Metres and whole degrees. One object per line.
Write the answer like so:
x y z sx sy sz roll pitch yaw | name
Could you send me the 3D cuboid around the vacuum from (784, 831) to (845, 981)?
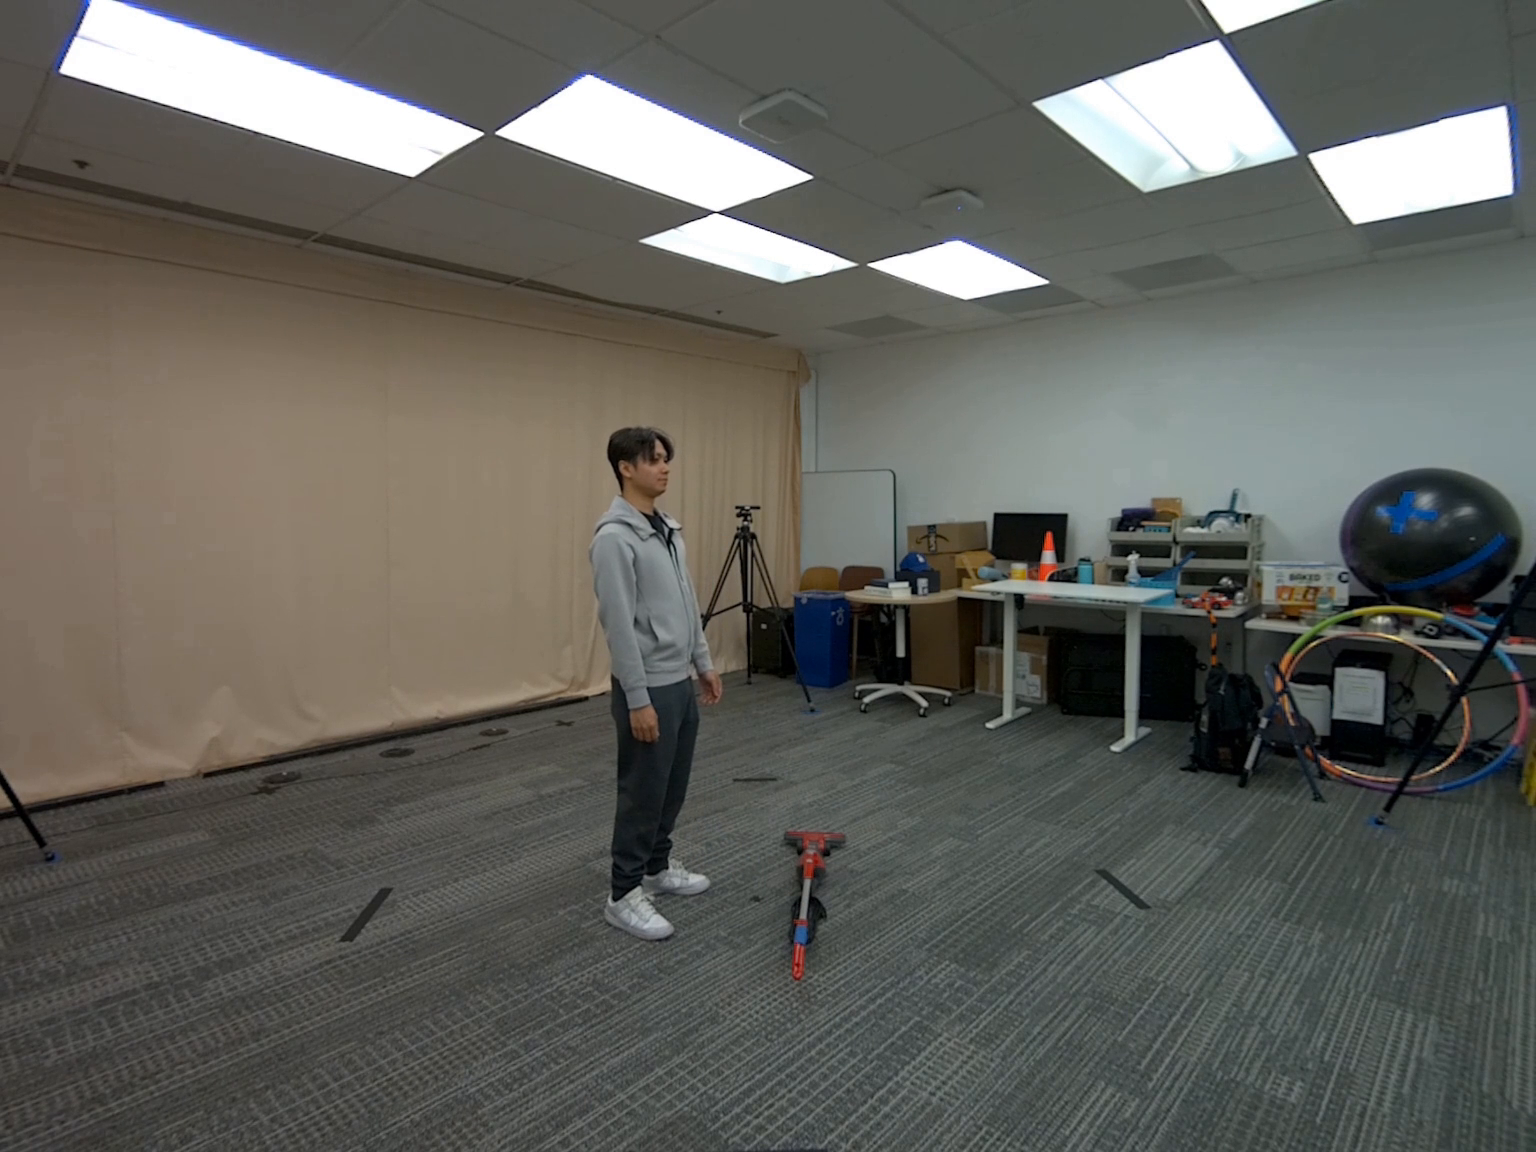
0.131 1.088 2.892 0.254 0.144 1.043 1 3 5 | vacuum
